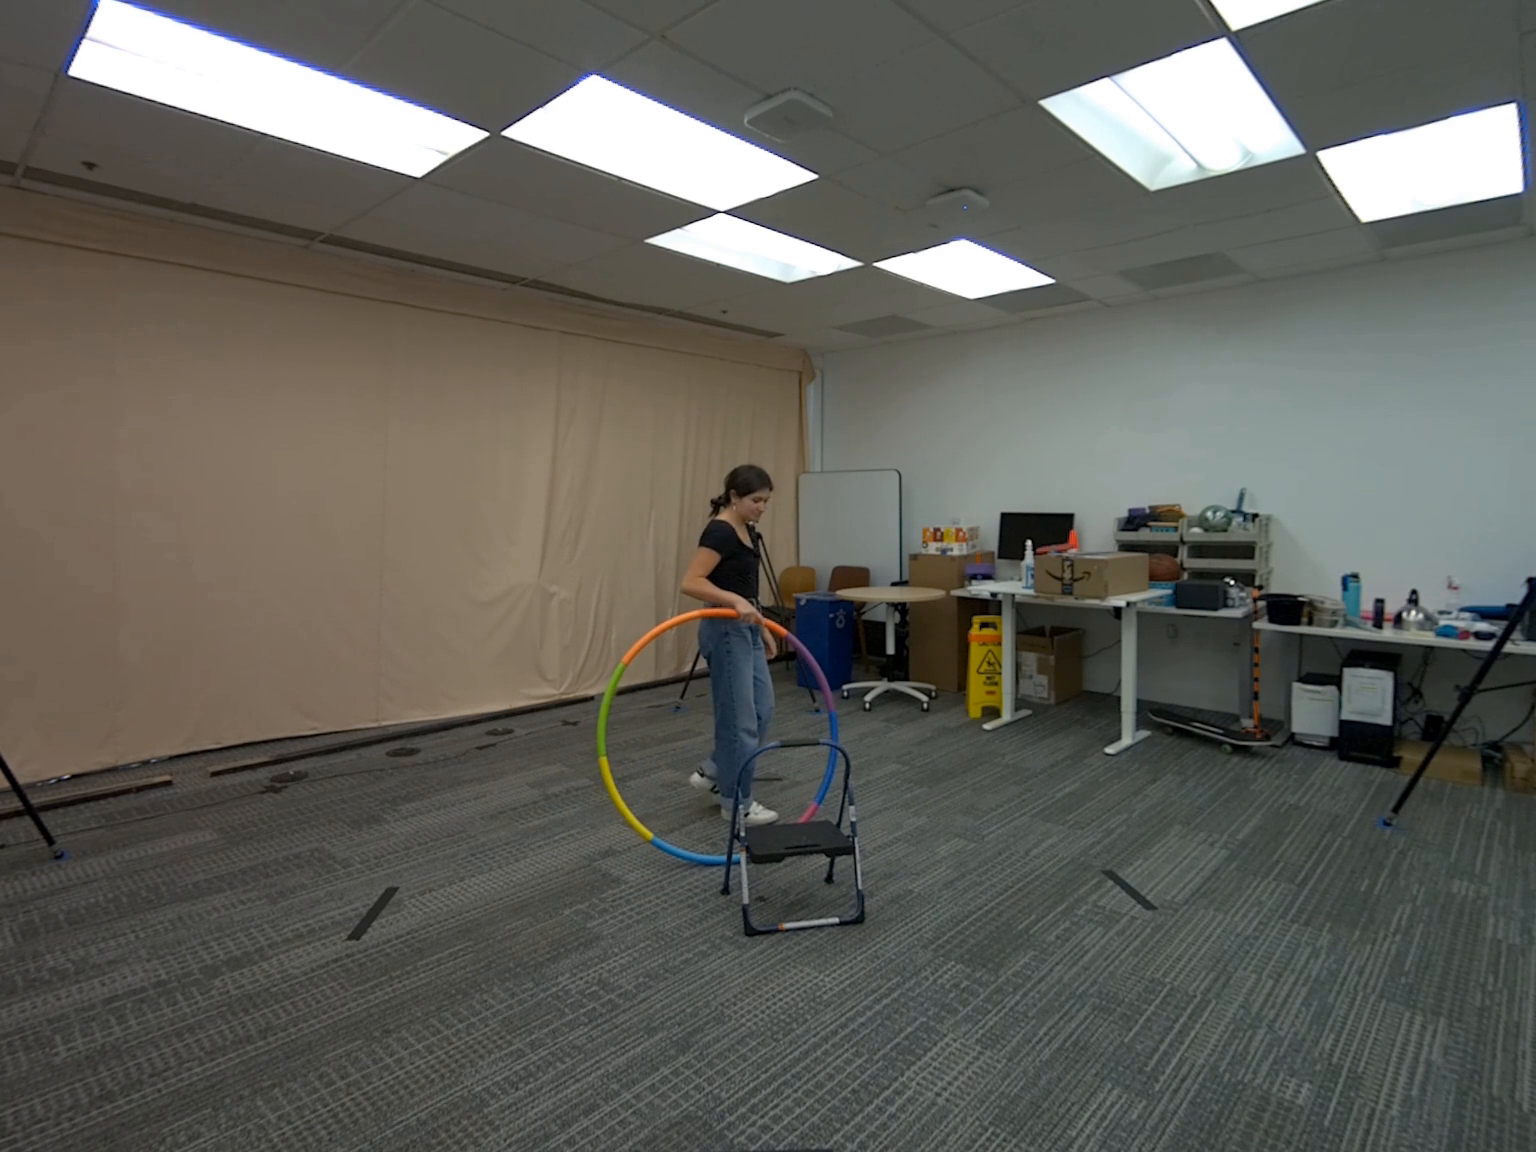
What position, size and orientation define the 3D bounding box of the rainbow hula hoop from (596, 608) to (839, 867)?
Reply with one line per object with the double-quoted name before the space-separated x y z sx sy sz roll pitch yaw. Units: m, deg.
"rainbow hula hoop" -0.182 0.630 3.365 0.969 0.985 0.035 -1 -10 -9
